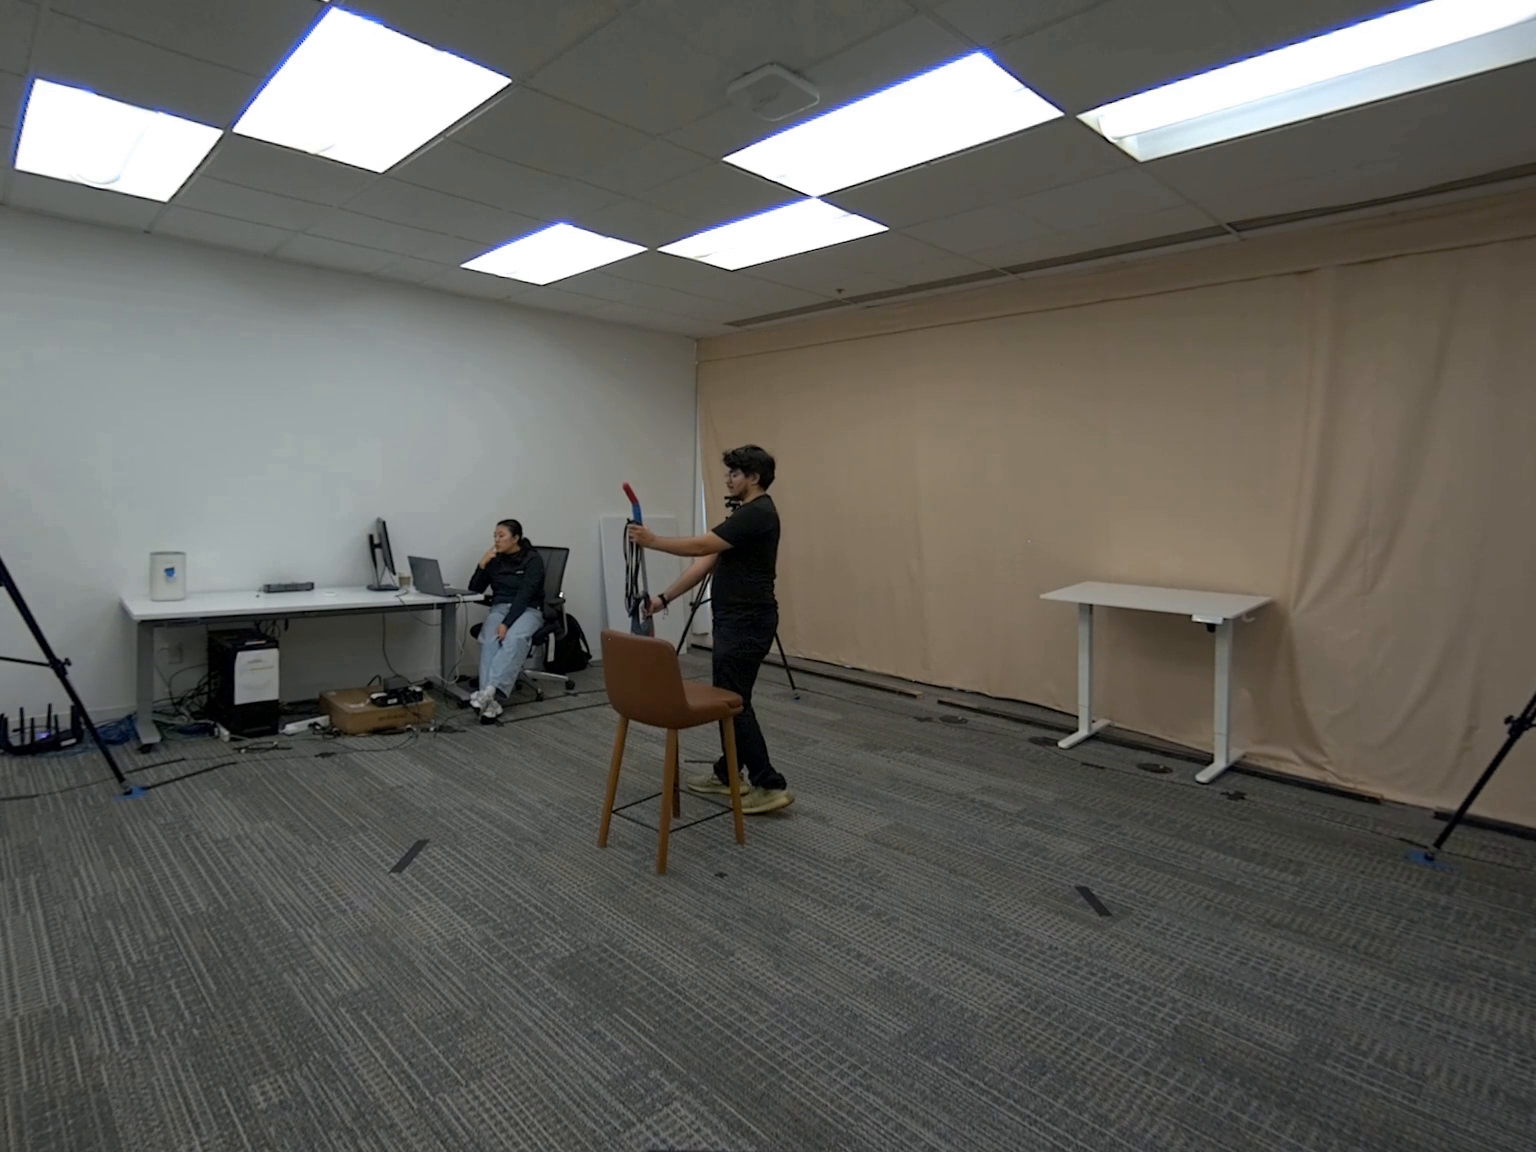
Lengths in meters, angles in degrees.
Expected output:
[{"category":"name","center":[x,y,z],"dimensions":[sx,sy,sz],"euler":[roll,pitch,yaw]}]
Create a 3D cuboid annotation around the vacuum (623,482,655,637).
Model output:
[{"category":"vacuum","center":[-0.606,0.084,3.895],"dimensions":[0.142,1.036,0.260],"euler":[-17,20,-38]}]
